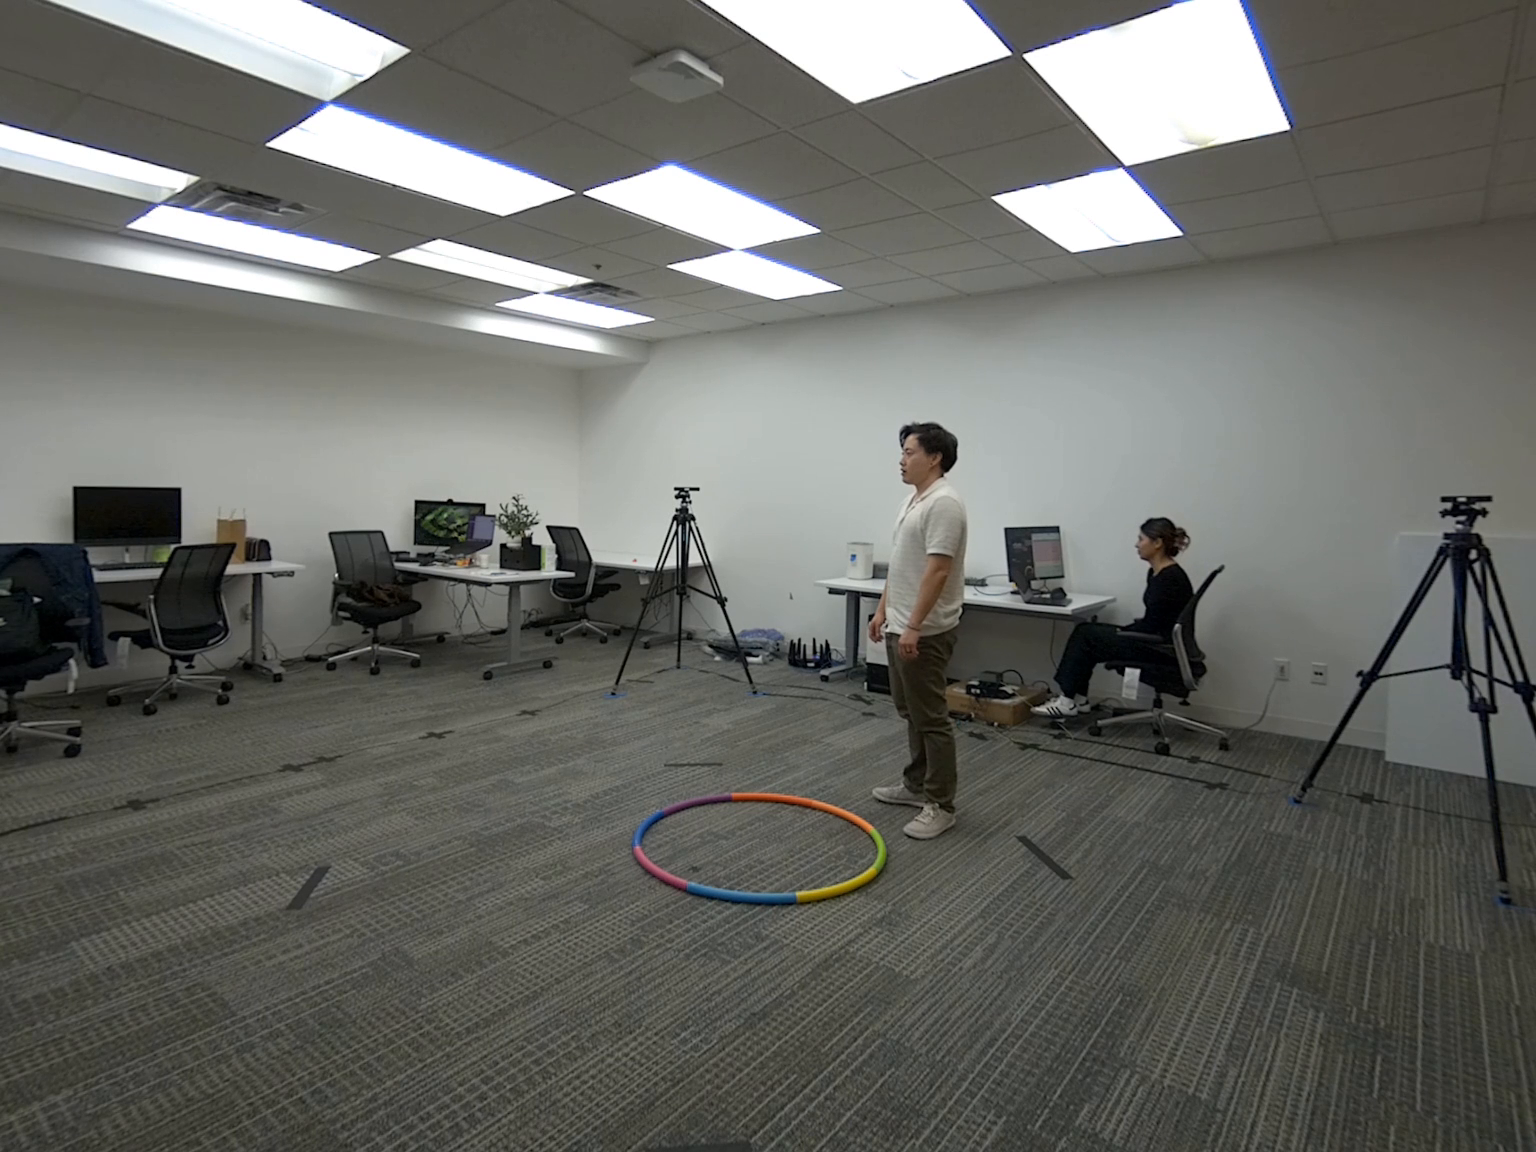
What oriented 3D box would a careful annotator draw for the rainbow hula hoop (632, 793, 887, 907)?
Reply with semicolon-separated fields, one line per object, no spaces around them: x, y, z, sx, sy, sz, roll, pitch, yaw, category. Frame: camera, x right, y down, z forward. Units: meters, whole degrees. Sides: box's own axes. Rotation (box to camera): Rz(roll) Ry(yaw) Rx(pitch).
-0.042;1.018;3.323;0.978;0.035;0.984;1;6;-2;rainbow hula hoop
